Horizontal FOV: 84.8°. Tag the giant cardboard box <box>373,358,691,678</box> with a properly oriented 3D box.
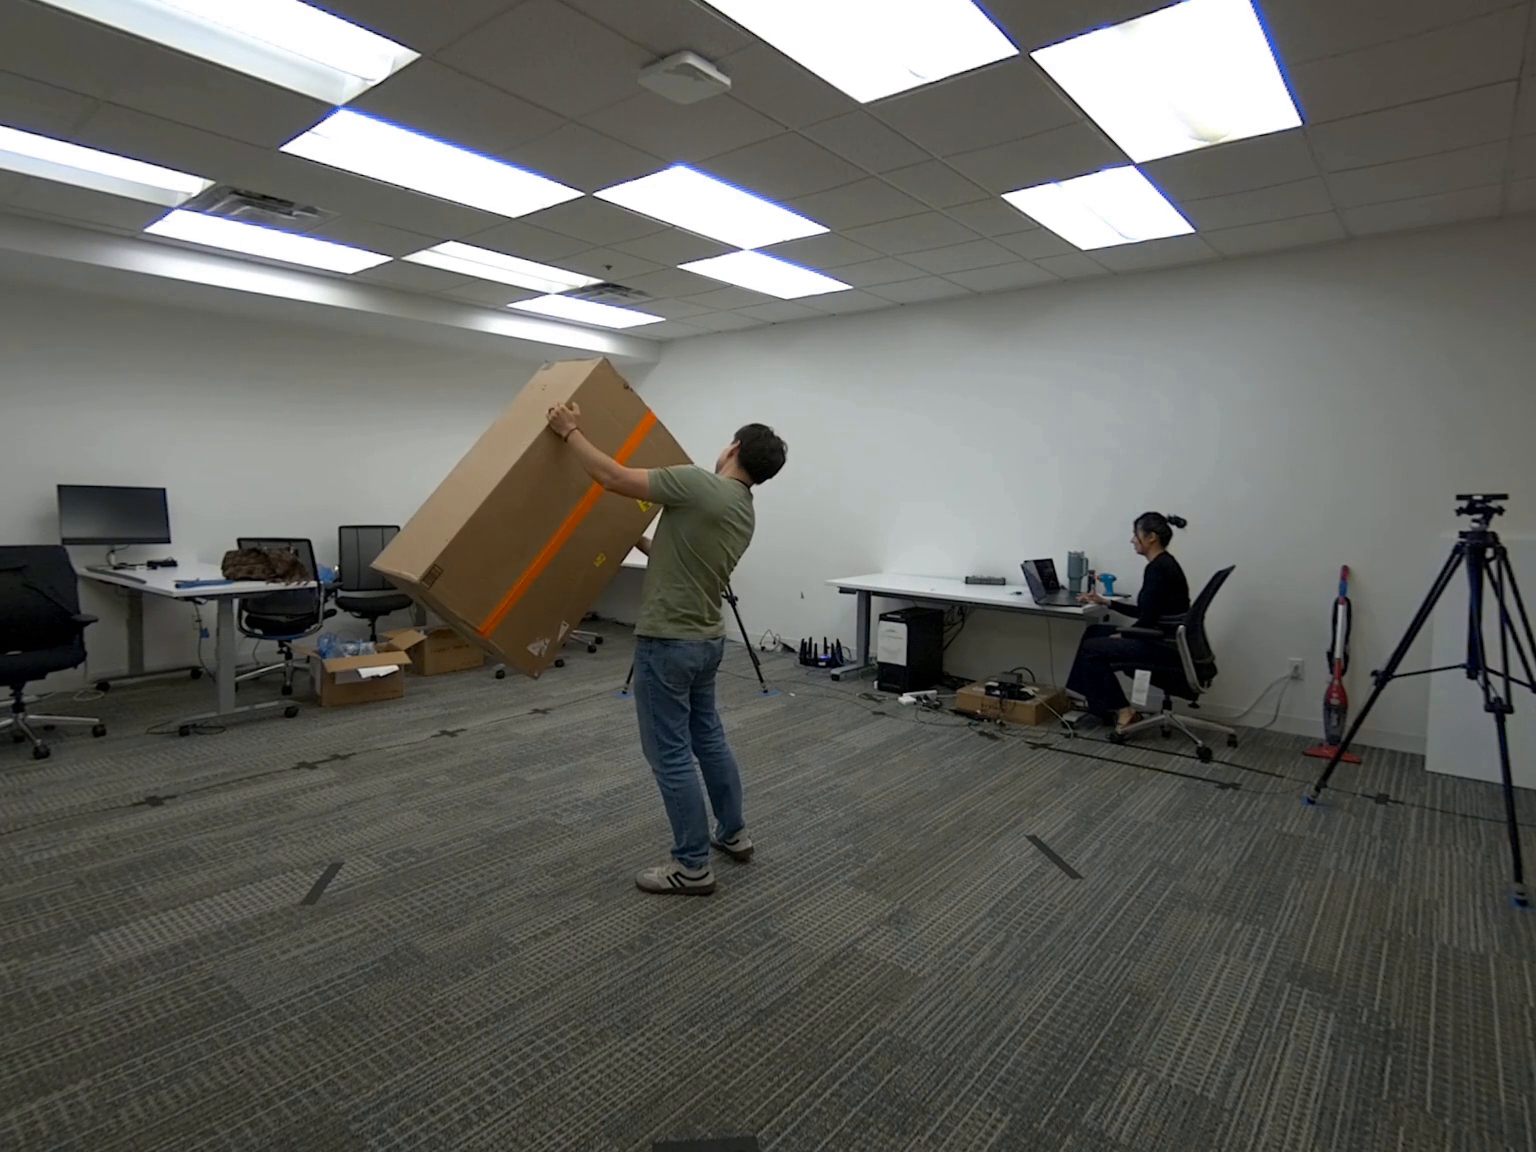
[{"bbox_3d":[-0.835,-0.237,3.133,0.442,1.030,0.555,10,-30,47],"label":"giant cardboard box"}]
